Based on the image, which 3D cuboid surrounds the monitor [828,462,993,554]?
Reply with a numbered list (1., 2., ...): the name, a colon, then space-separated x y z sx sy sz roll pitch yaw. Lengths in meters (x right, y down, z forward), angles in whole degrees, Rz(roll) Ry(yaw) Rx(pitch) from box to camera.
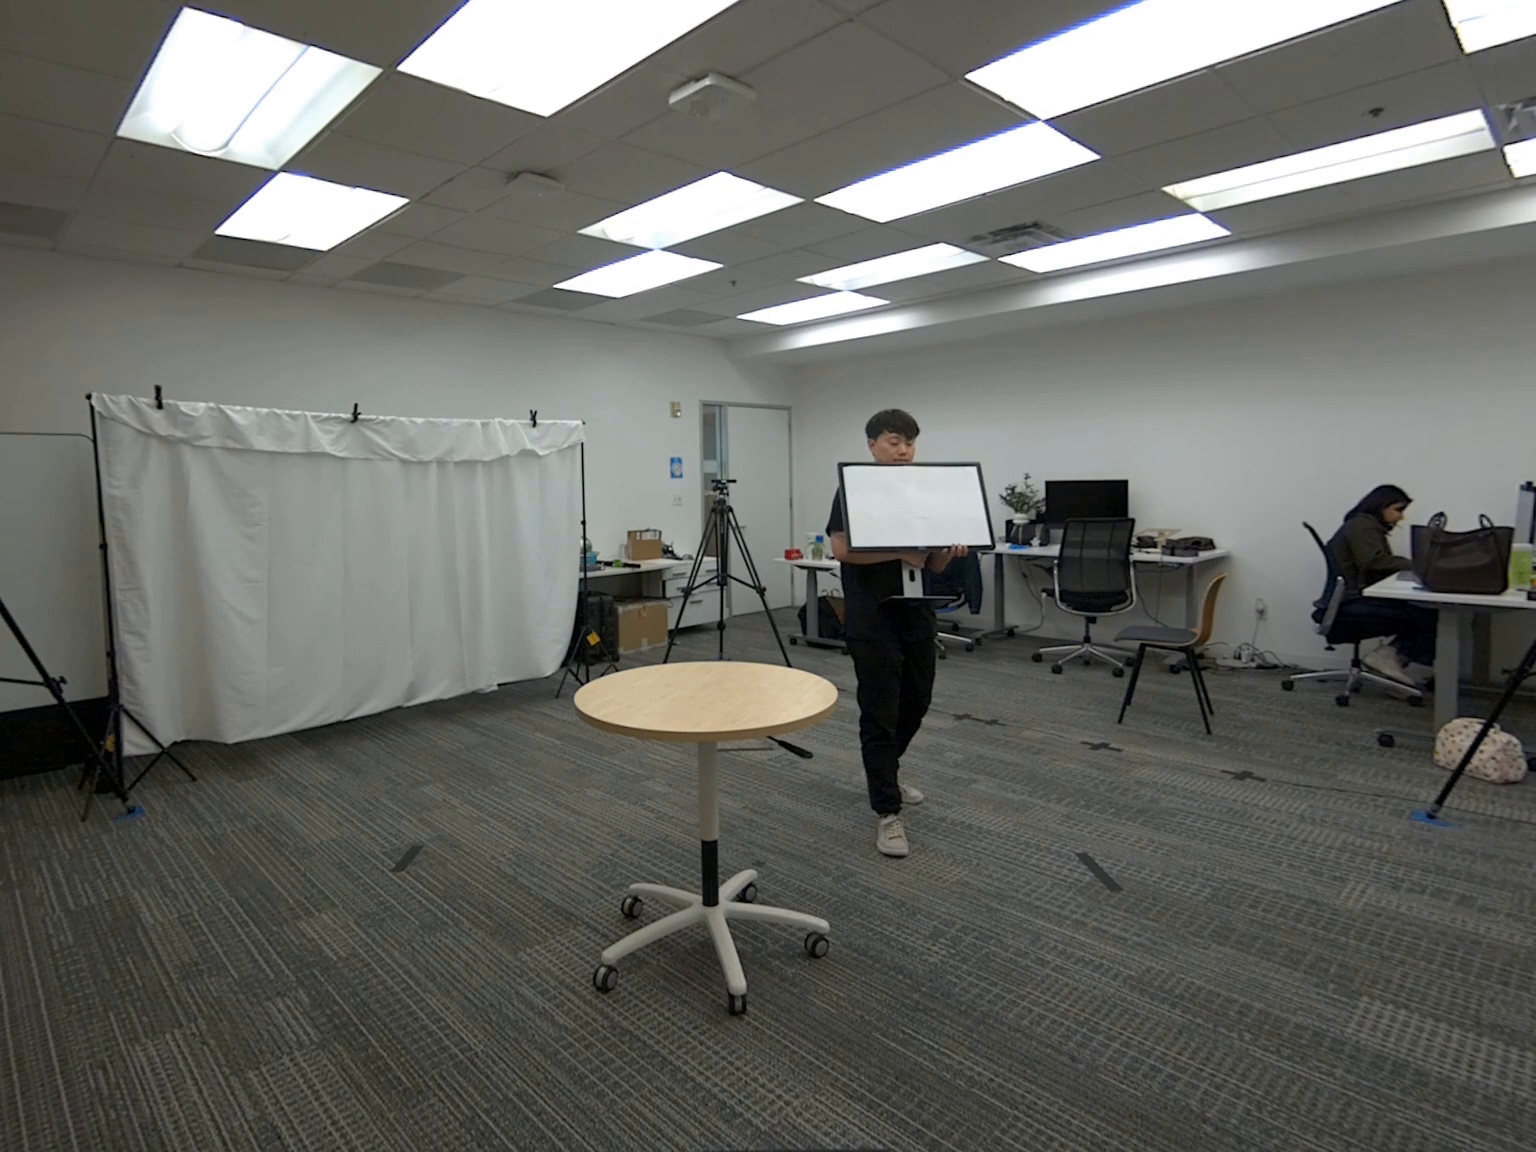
1. monitor: 0.546 -0.159 3.218 0.535 0.528 0.186 -1 -10 -7
